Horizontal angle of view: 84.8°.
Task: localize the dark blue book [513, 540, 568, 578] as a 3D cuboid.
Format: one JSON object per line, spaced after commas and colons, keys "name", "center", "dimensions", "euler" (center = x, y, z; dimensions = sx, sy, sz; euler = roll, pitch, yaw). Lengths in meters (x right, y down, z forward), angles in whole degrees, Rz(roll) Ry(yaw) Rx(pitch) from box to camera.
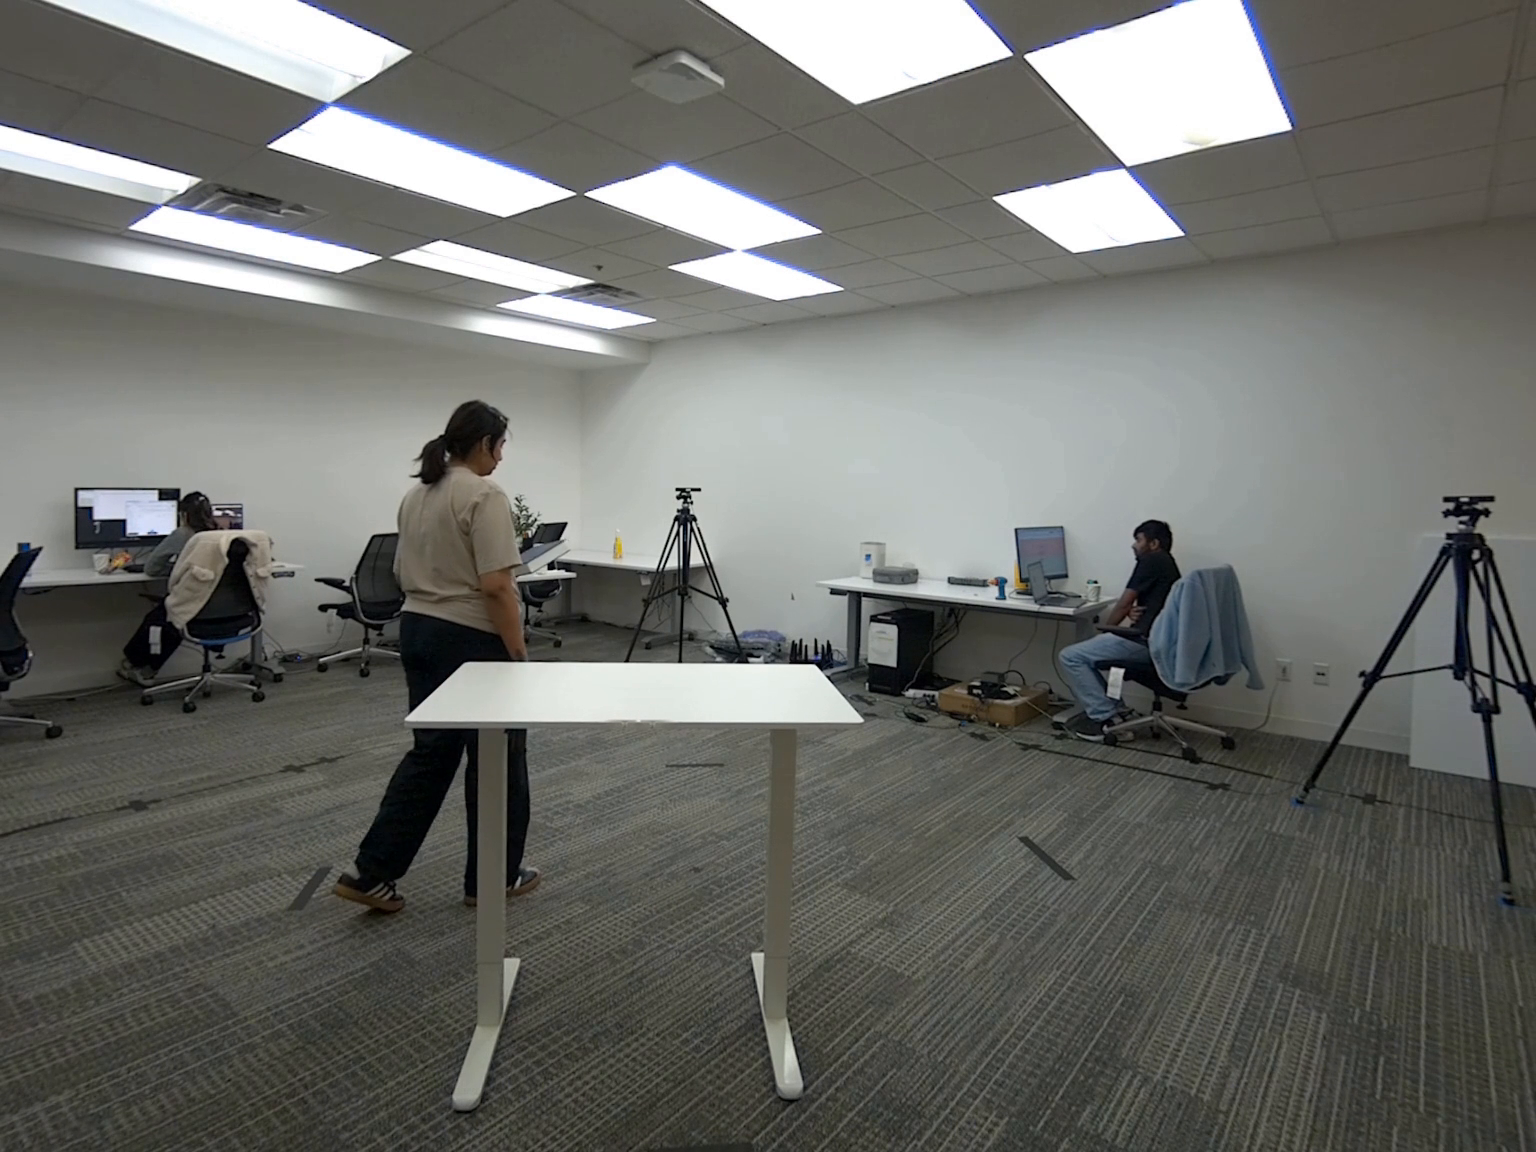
{"name": "dark blue book", "center": [-0.870, -0.058, 3.058], "dimensions": [0.167, 0.044, 0.244], "euler": [-9, 17, 27]}
